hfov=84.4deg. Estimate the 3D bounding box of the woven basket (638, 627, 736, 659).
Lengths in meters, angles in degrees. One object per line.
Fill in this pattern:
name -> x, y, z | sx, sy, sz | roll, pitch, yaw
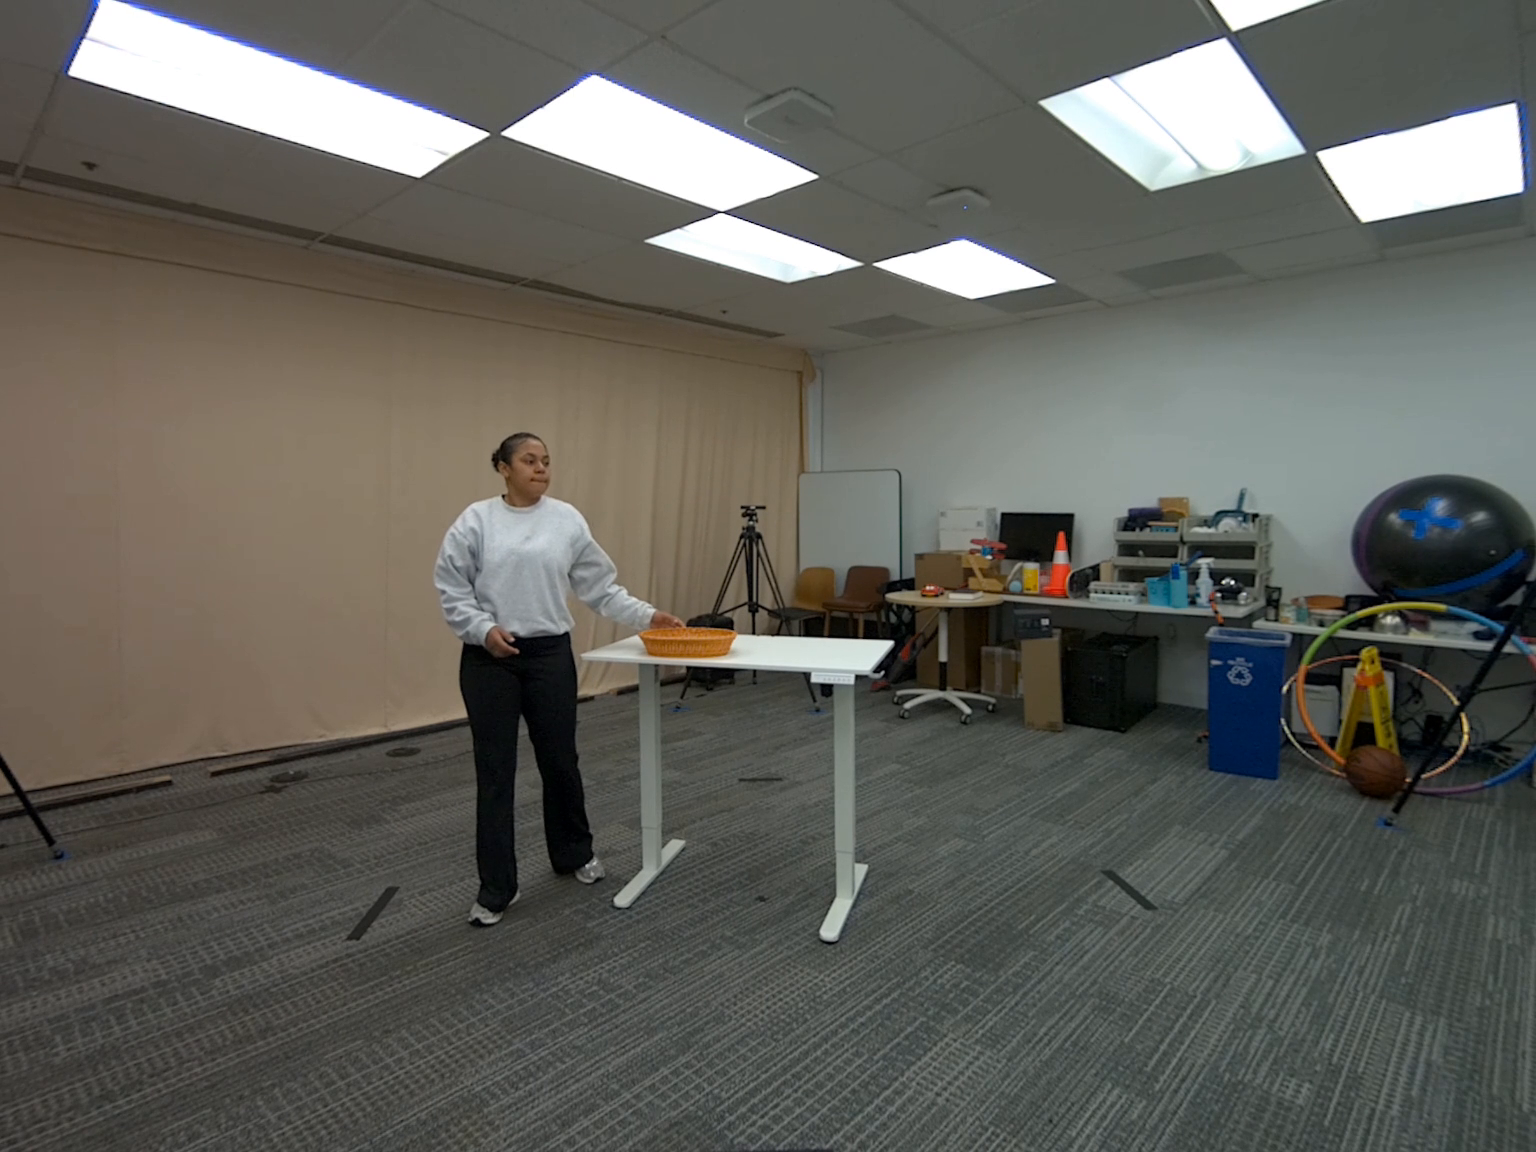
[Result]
woven basket -> -0.282, 0.240, 2.930 | 0.356, 0.073, 0.249 | 1, 5, 15
